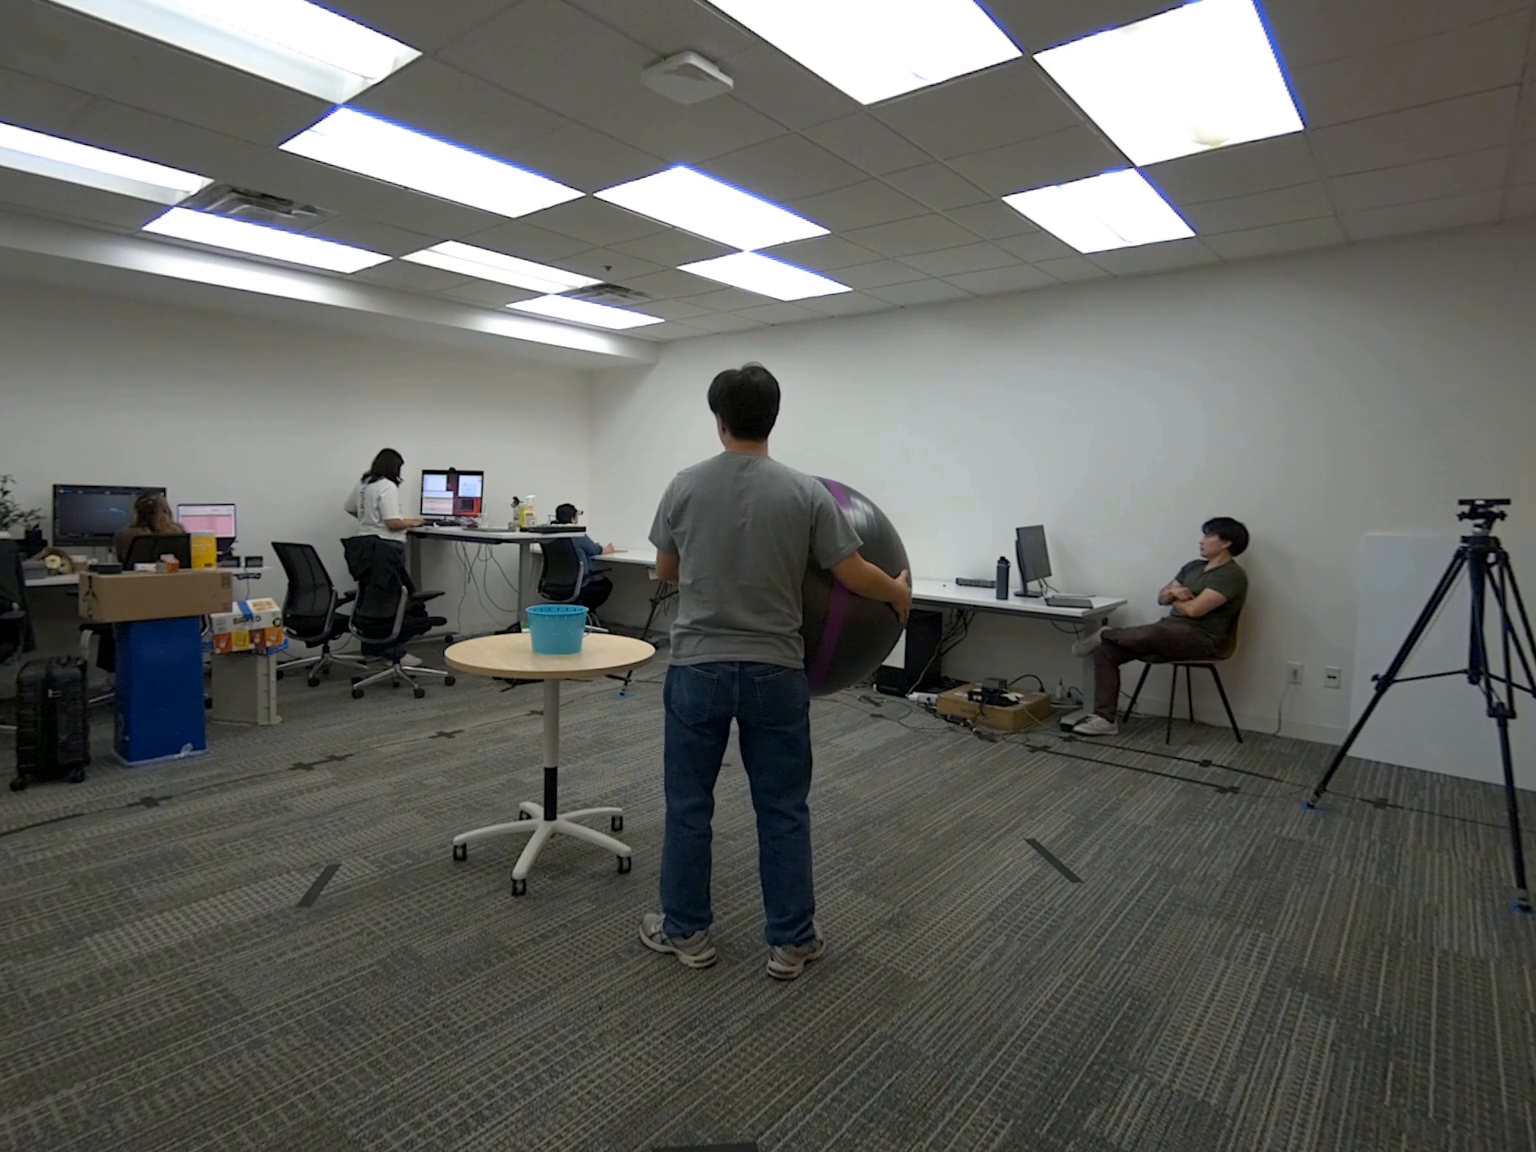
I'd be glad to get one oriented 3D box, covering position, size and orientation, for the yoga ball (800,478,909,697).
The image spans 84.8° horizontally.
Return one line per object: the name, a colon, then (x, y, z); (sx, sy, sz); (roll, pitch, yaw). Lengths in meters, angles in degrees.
yoga ball: (0.110, 0.036, 2.930); (0.757, 0.755, 0.762); (1, 4, -2)
